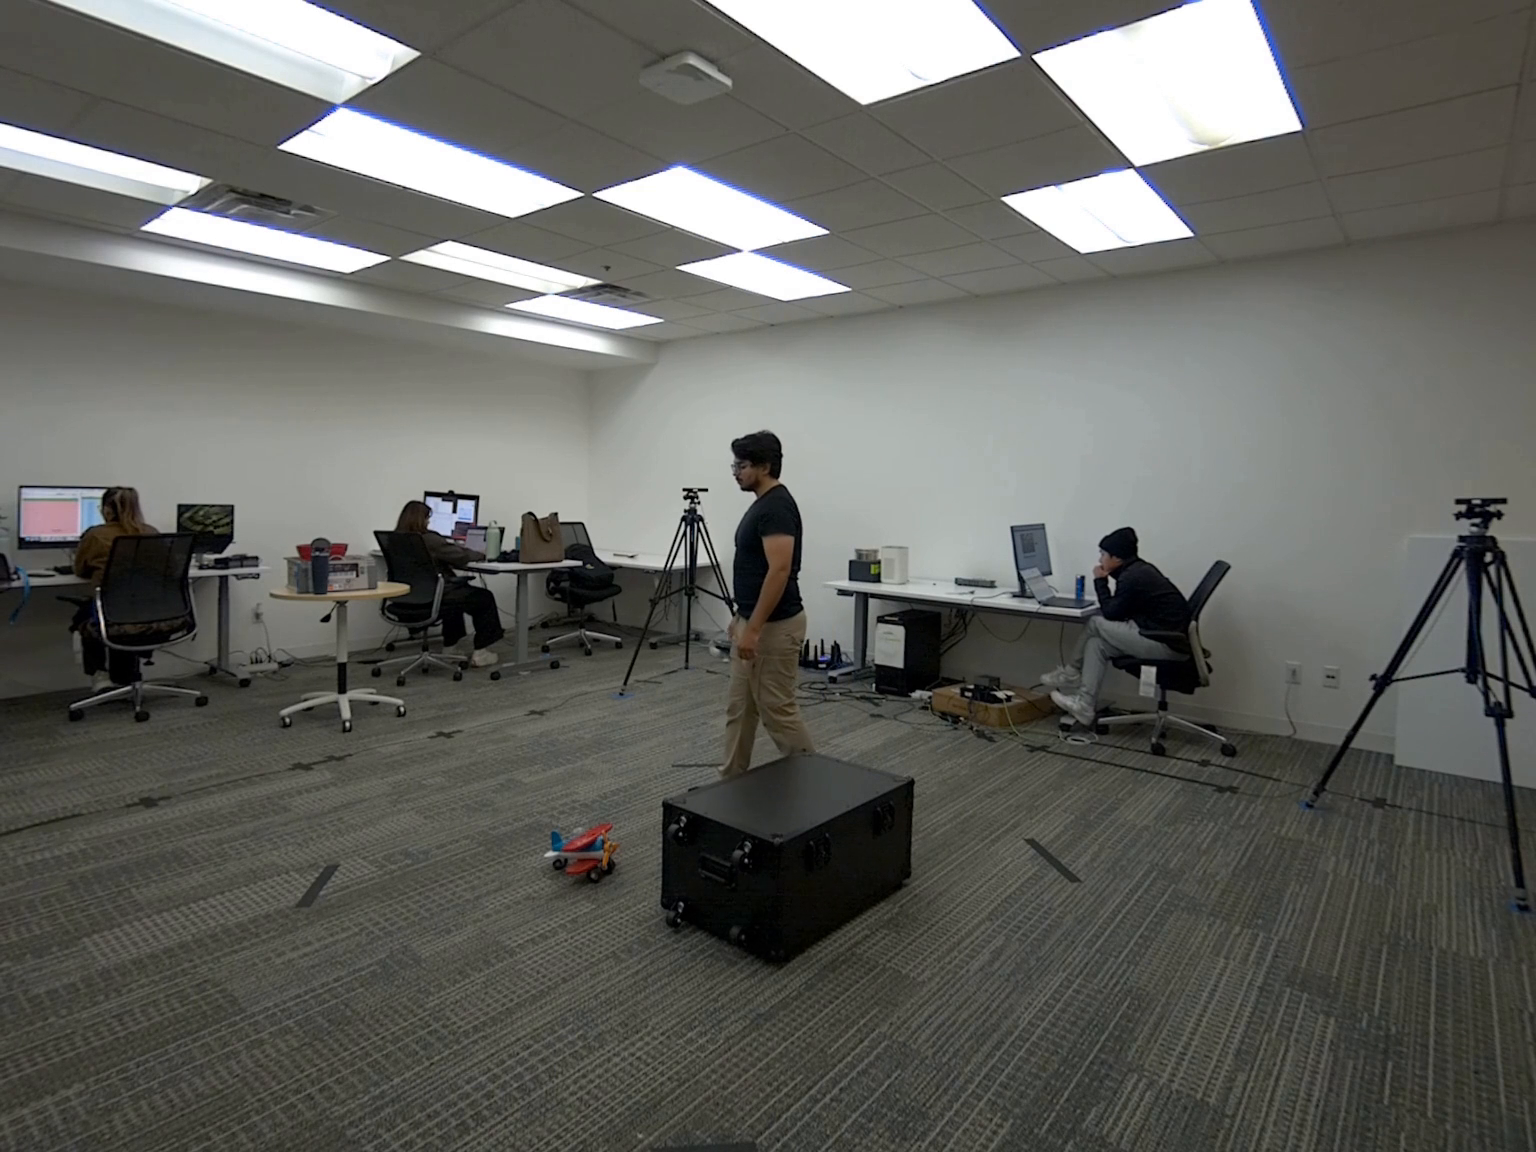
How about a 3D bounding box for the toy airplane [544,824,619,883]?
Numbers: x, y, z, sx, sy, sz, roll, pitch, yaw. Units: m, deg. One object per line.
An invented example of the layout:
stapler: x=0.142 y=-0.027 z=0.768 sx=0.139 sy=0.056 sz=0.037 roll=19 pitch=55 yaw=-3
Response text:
toy airplane: x=-0.687 y=0.992 z=3.047 sx=0.258 sy=0.156 sz=0.253 roll=2 pitch=4 yaw=-5
